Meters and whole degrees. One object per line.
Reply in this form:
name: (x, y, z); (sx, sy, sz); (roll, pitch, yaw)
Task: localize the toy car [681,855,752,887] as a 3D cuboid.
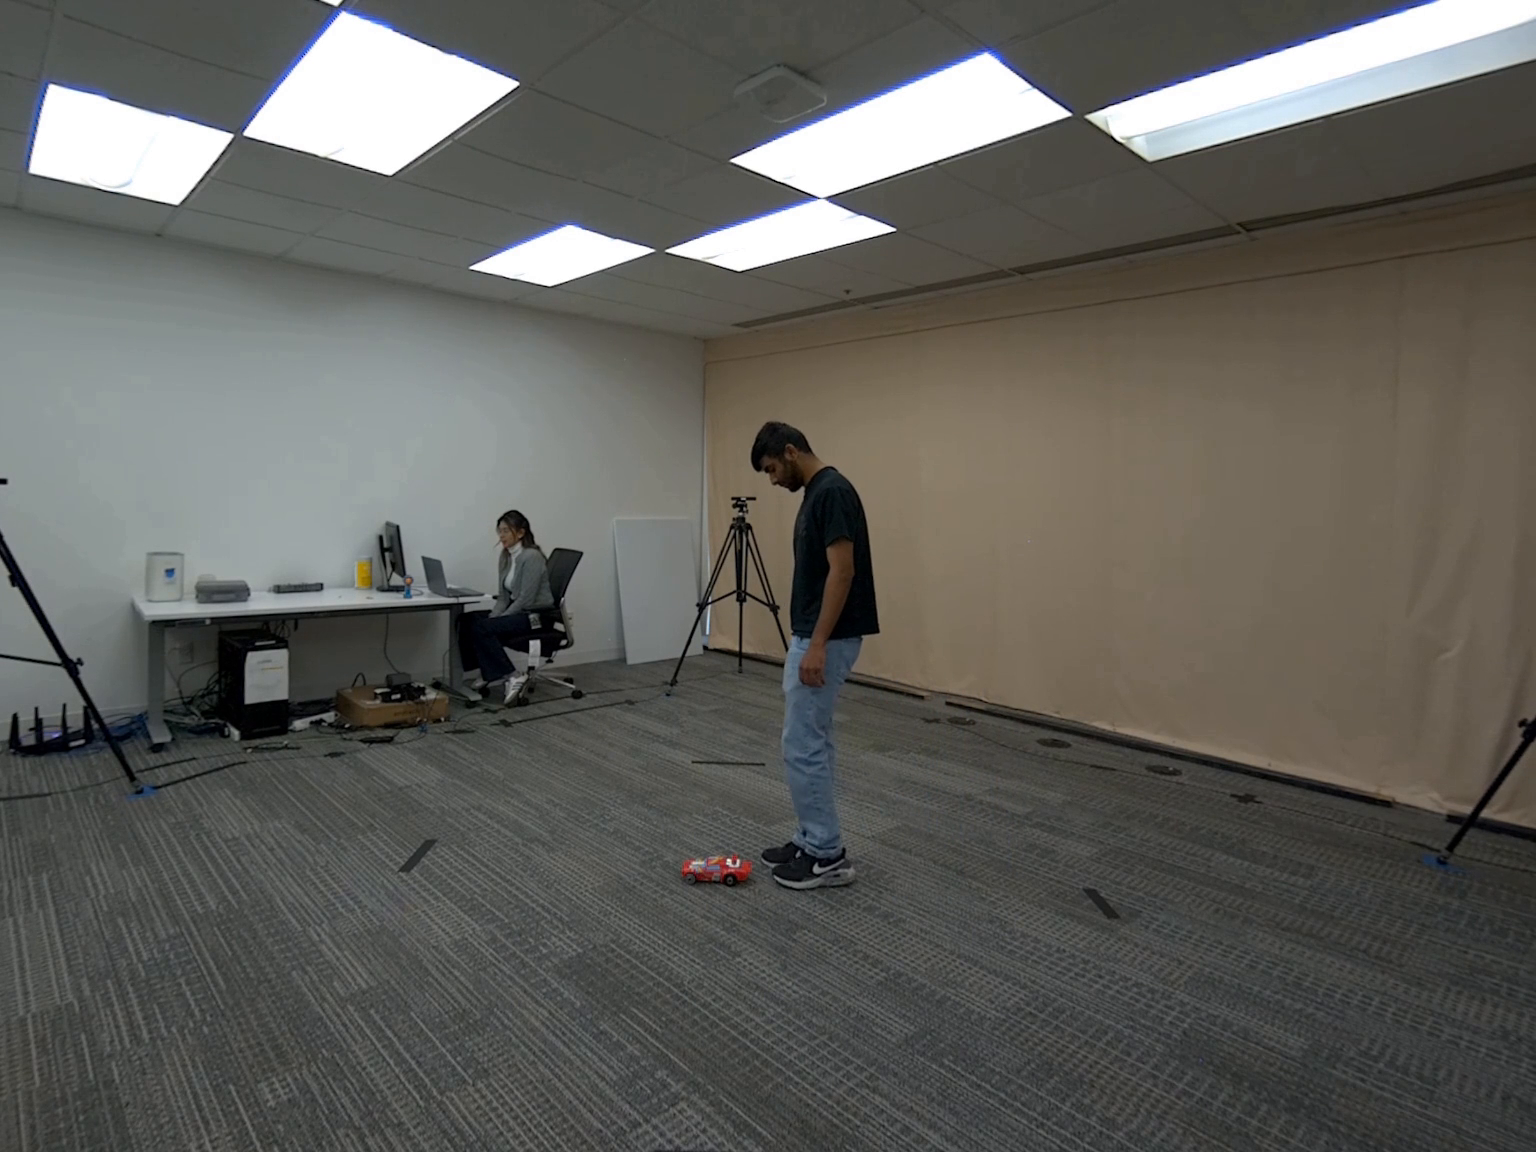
toy car: (-0.185, 1.070, 3.076); (0.255, 0.083, 0.130); (-10, 4, 5)
